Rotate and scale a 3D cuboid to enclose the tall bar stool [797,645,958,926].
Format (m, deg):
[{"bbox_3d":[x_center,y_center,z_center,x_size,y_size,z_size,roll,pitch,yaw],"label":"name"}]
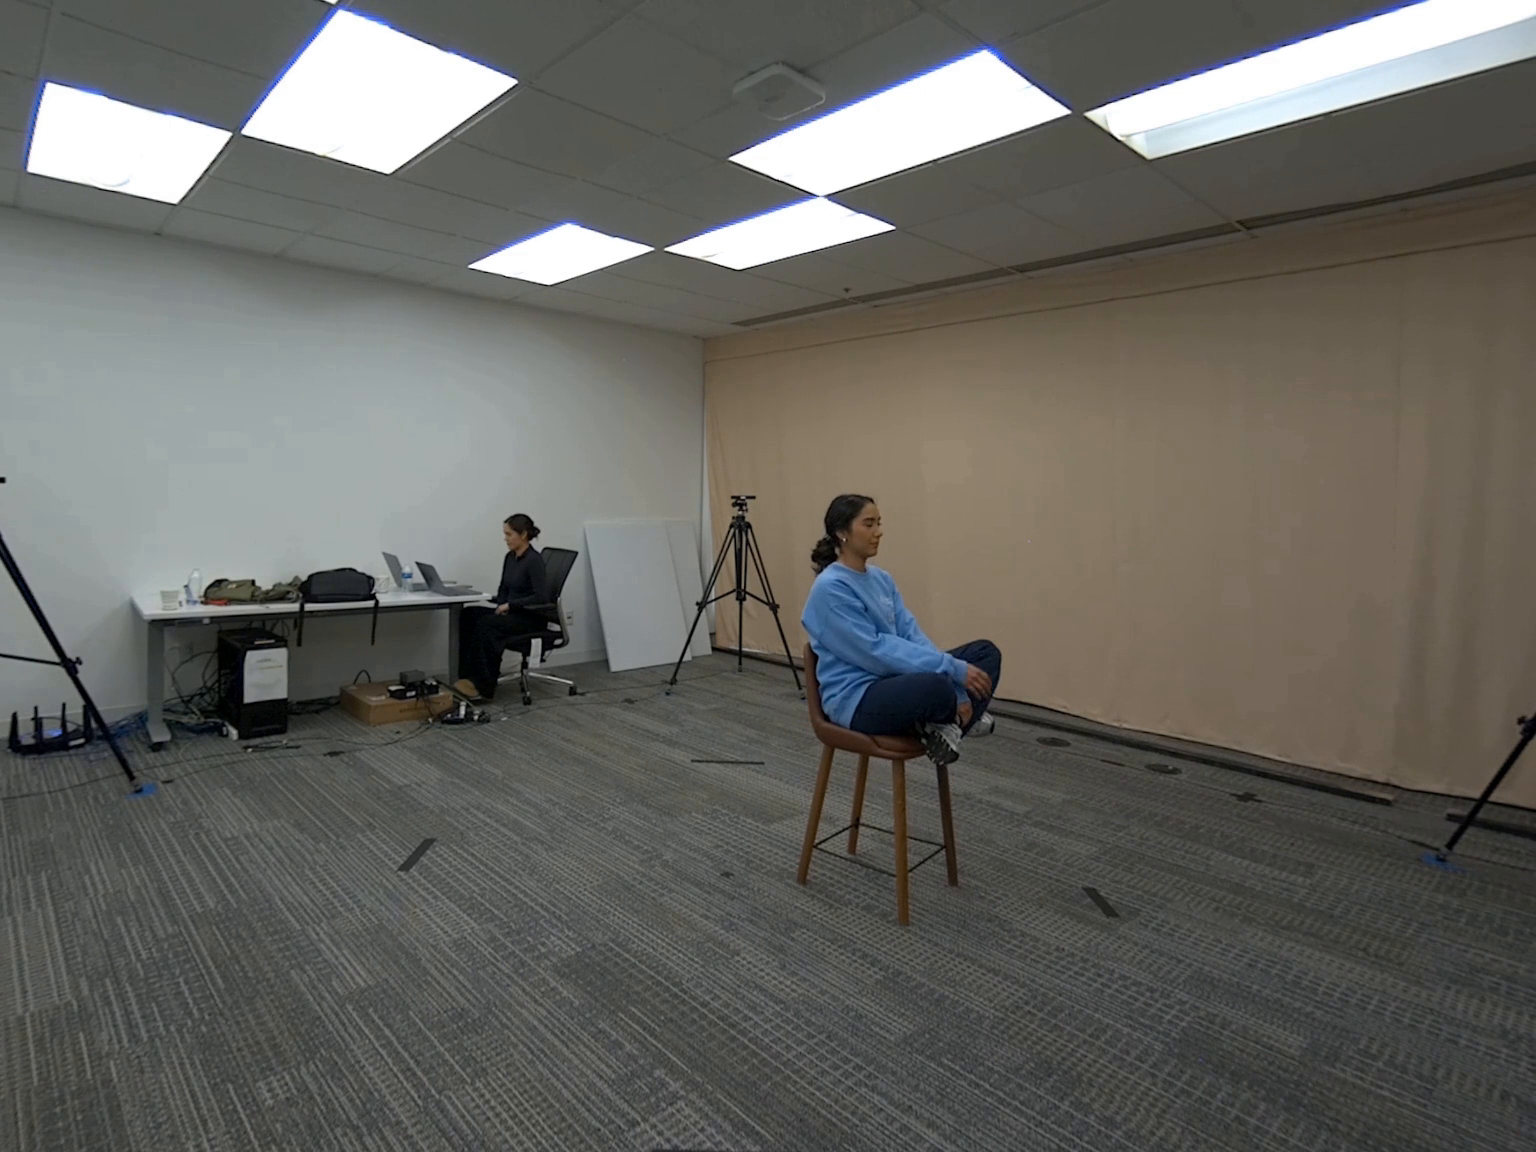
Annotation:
[{"bbox_3d":[0.392,0.686,3.034,0.479,0.889,0.446,2,2,39],"label":"tall bar stool"}]
